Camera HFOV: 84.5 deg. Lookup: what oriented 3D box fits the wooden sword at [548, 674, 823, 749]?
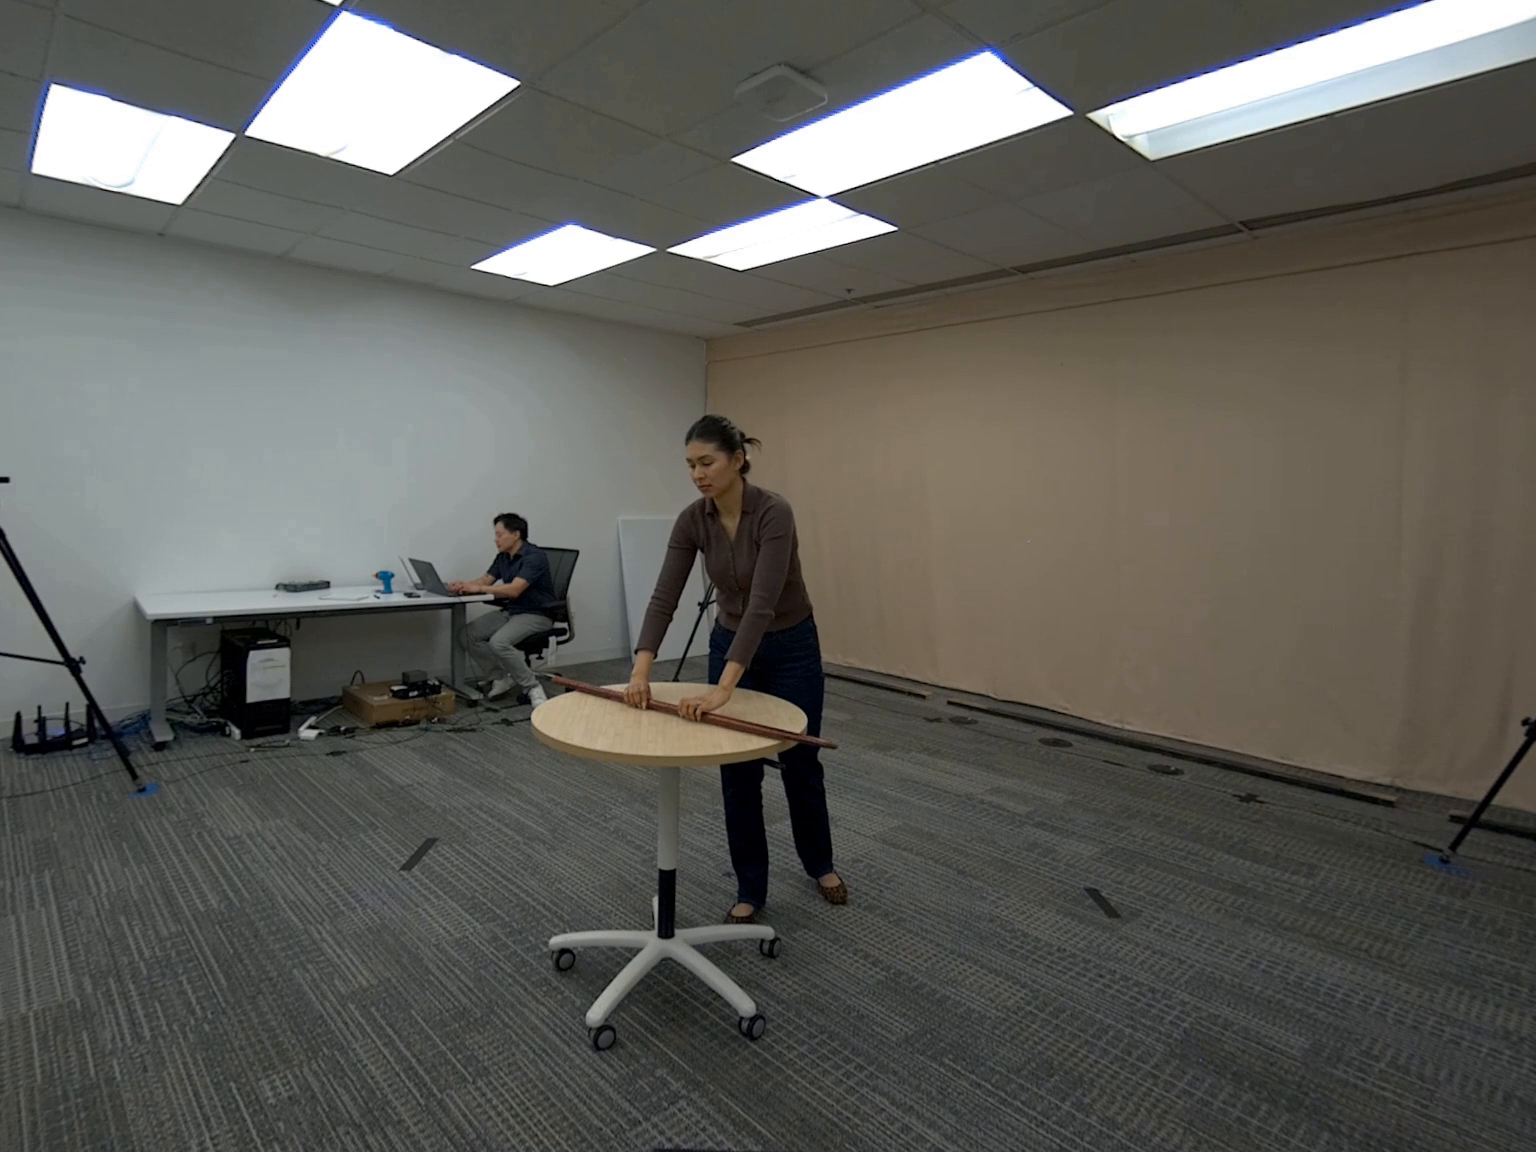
[{"bbox_3d":[-0.310,0.366,2.371,1.050,0.051,0.023,5,-12,38],"label":"wooden sword"}]
